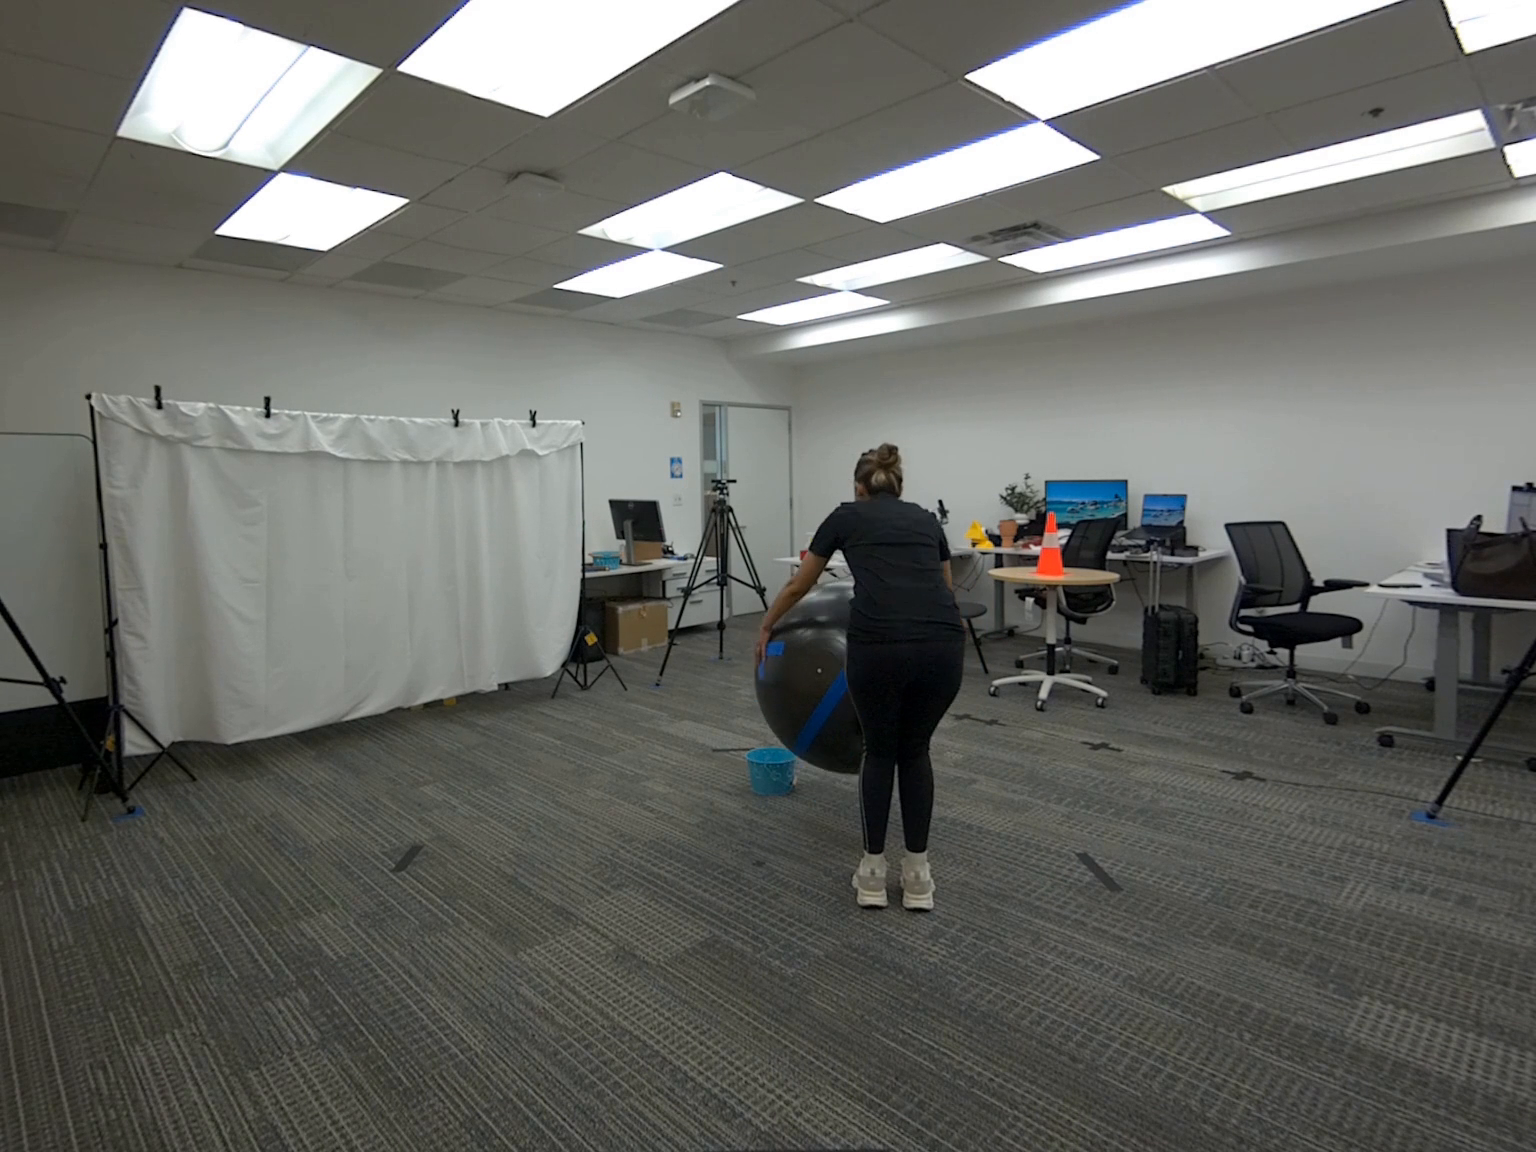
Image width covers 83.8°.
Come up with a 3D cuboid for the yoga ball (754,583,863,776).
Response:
[{"bbox_3d":[0.324,0.397,3.383,0.757,0.755,0.762,-1,5,-2],"label":"yoga ball"}]
